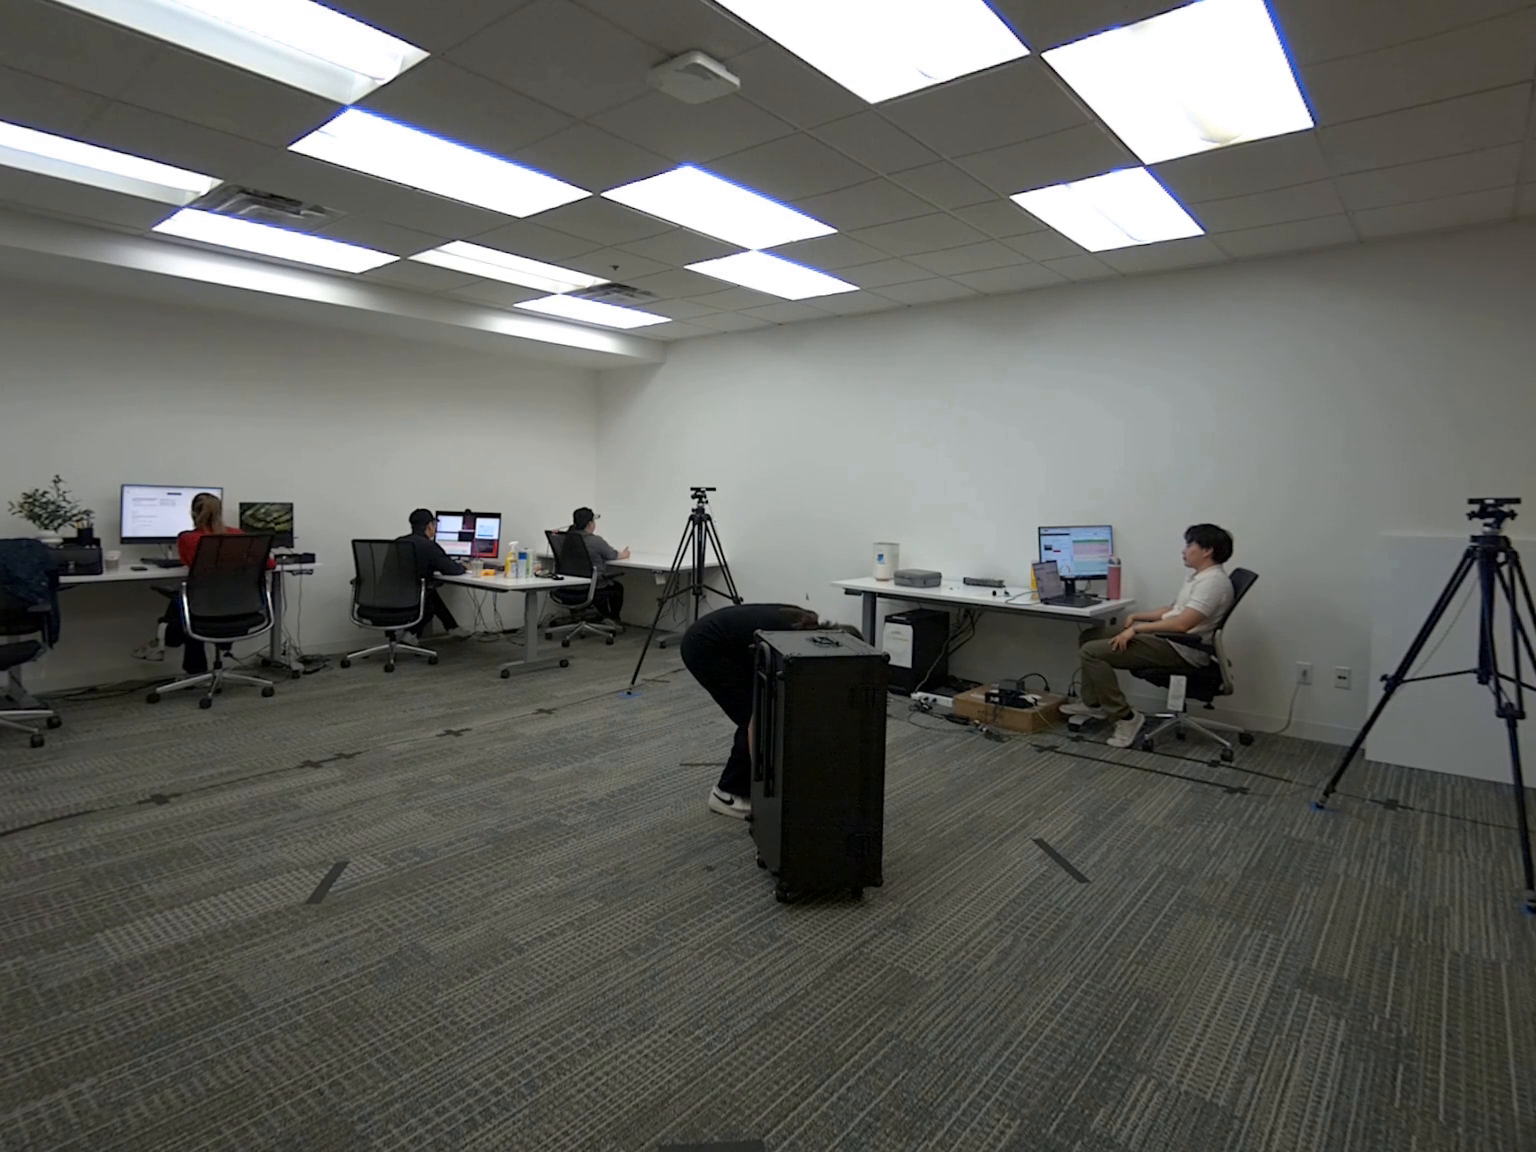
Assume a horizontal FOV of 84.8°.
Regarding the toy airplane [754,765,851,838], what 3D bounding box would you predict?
[{"bbox_3d":[0.140,0.934,3.490,0.249,0.156,0.261,23,0,-38],"label":"toy airplane"}]
